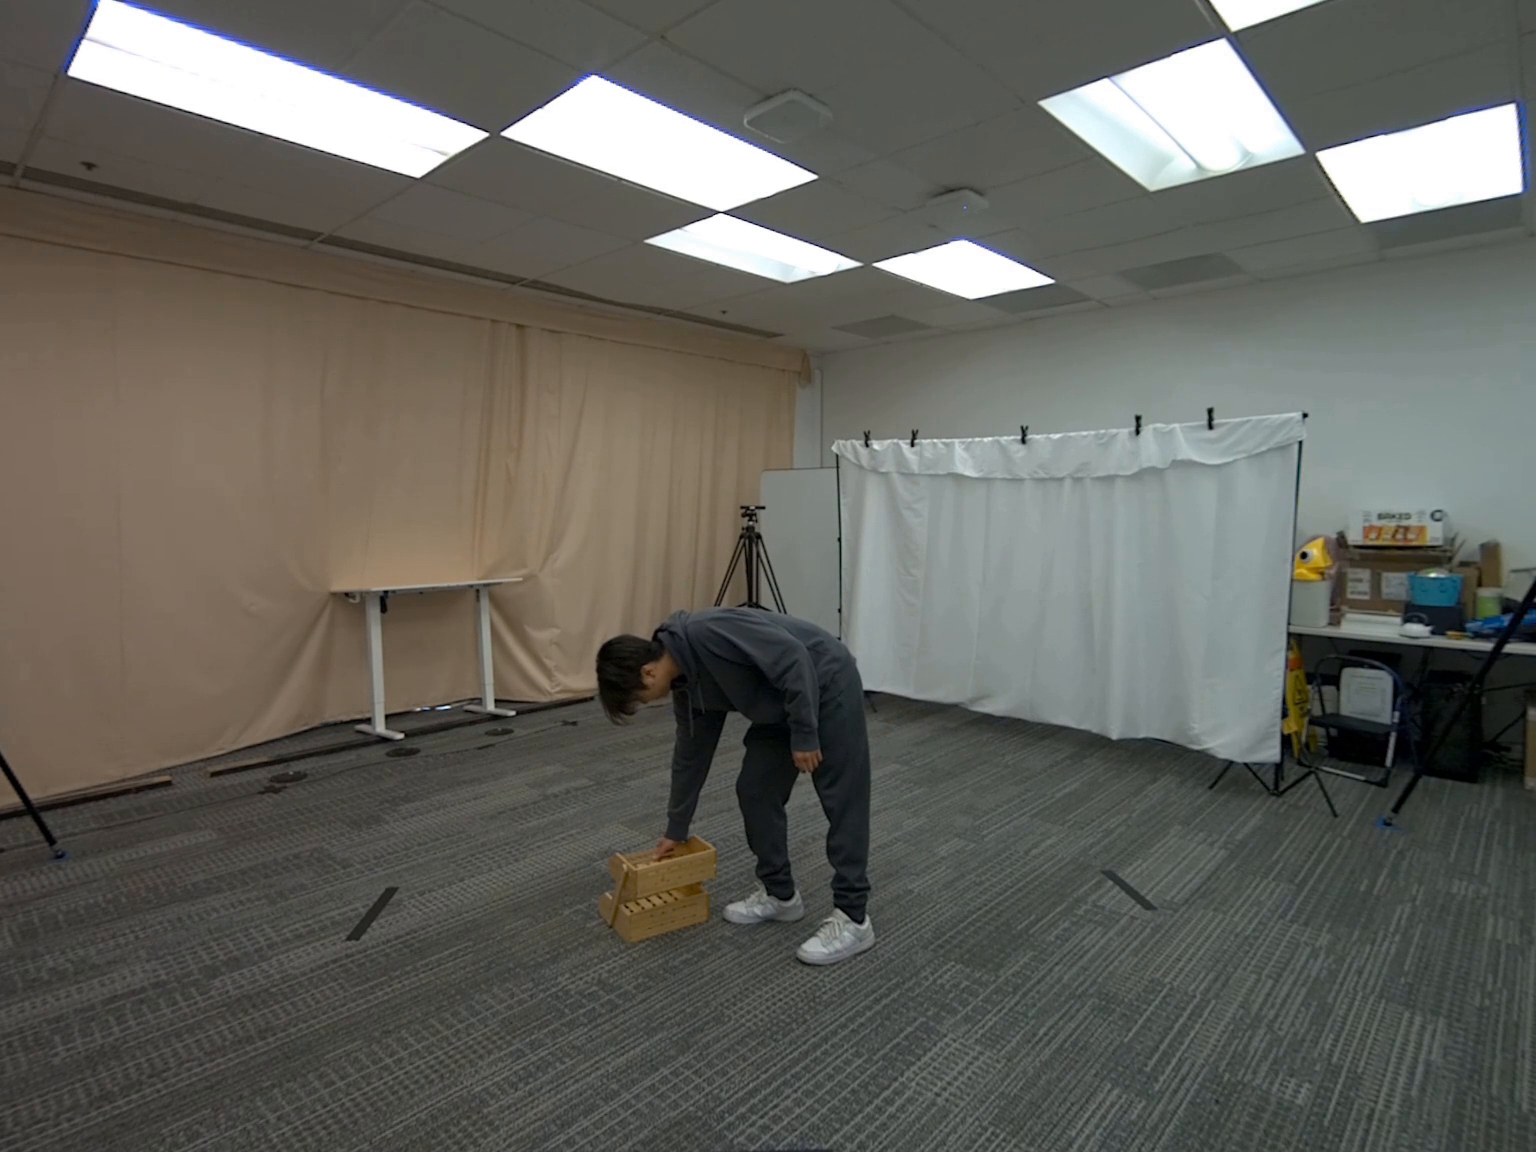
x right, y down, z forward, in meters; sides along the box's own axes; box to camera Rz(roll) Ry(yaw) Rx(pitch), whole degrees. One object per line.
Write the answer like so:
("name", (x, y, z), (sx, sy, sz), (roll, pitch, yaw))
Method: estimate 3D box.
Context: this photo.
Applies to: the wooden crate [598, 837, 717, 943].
("wooden crate", (-0.375, 1.026, 2.839), (0.315, 0.273, 0.311), (-3, 5, -33))
